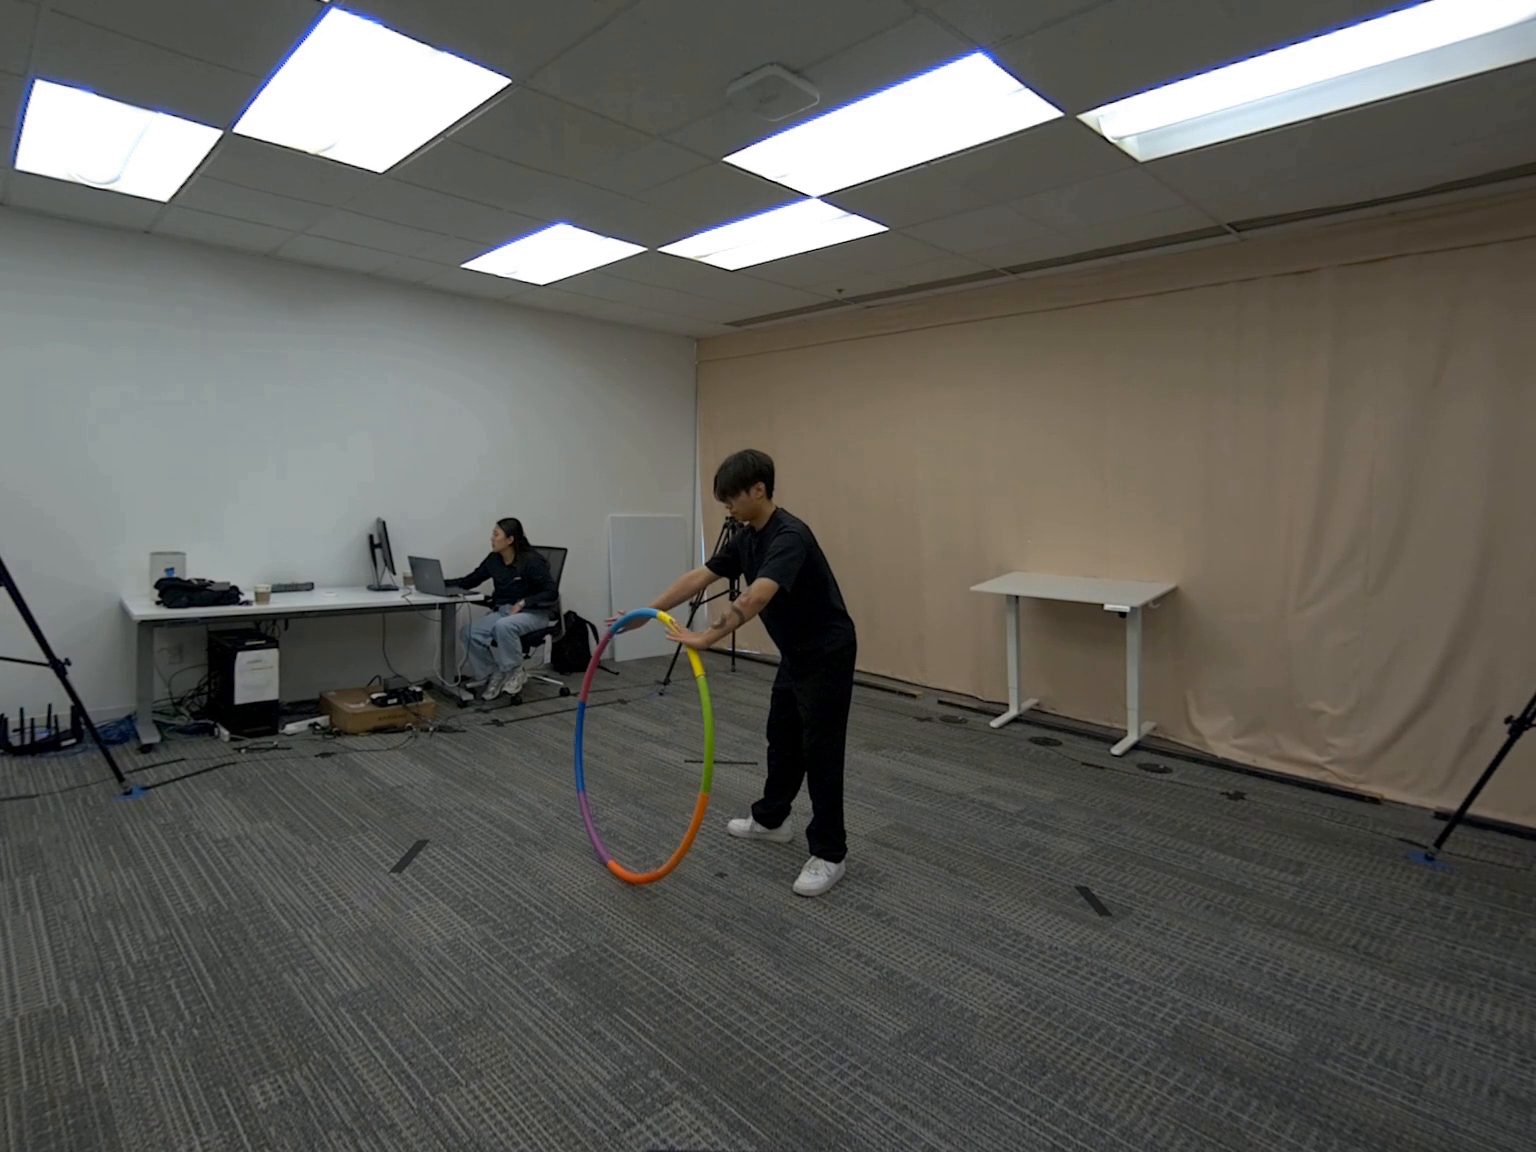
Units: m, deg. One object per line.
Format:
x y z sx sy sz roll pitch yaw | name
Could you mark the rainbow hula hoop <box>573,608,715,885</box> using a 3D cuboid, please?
-0.491 0.618 3.104 0.034 0.979 1.003 9 -1 -37 | rainbow hula hoop
